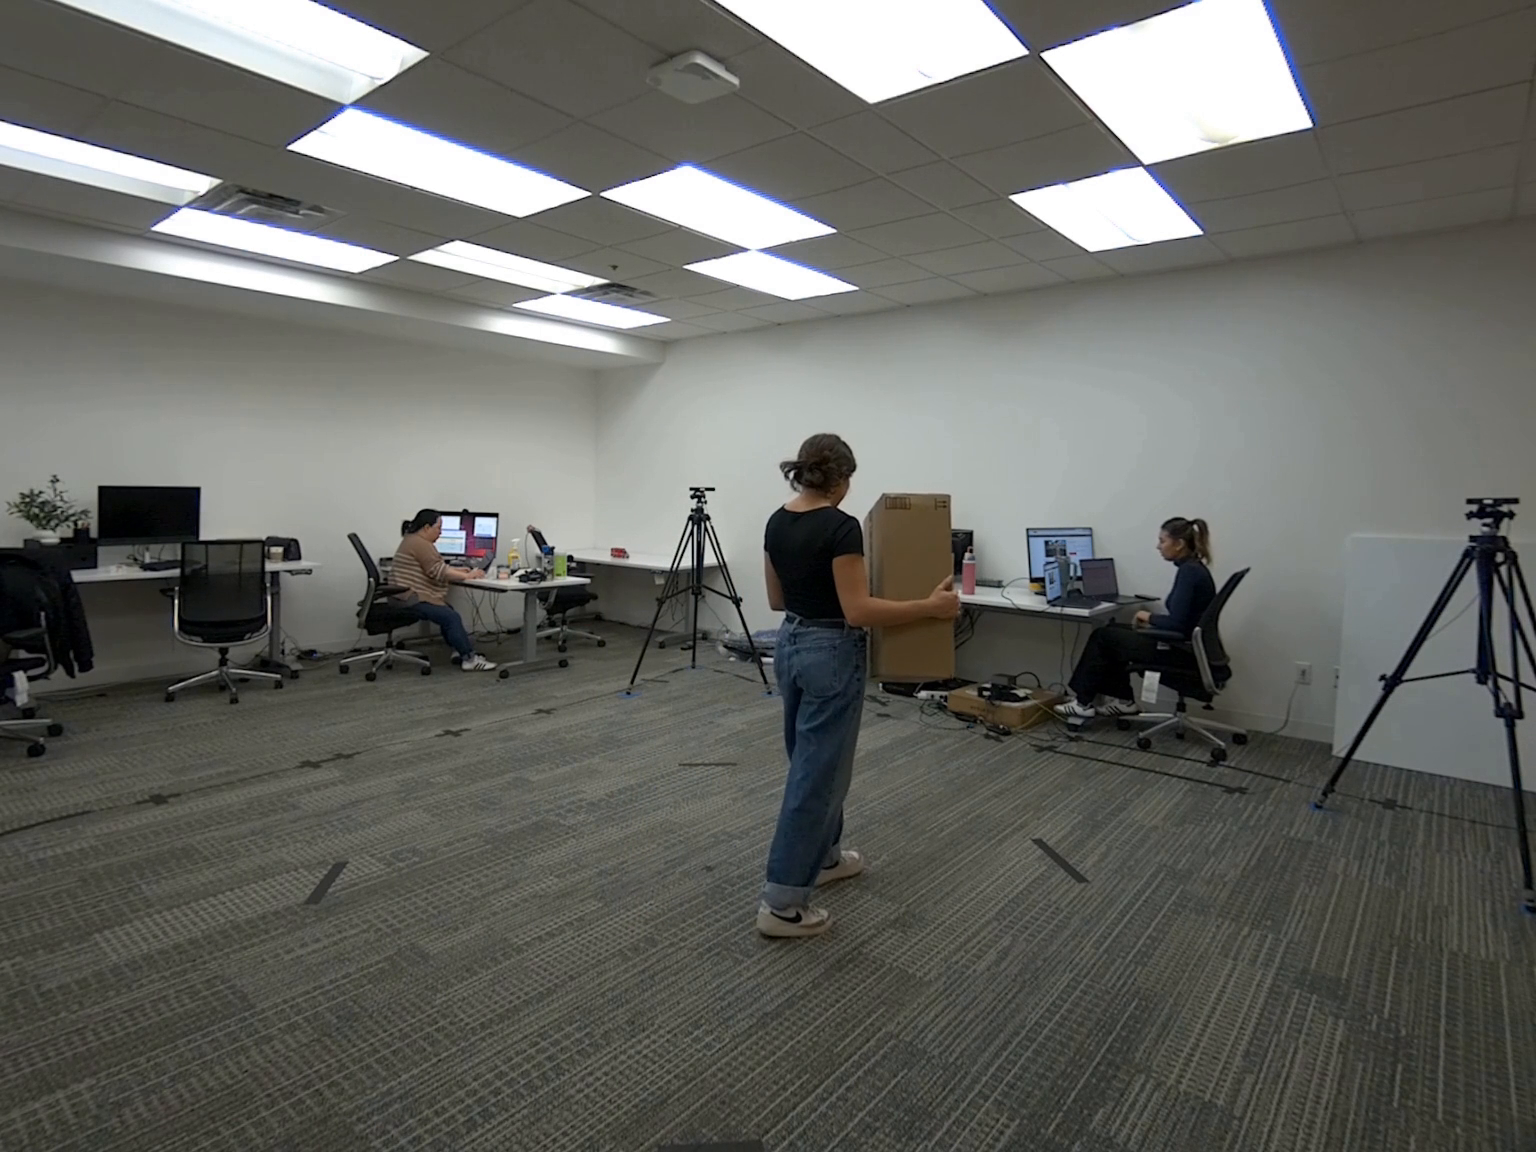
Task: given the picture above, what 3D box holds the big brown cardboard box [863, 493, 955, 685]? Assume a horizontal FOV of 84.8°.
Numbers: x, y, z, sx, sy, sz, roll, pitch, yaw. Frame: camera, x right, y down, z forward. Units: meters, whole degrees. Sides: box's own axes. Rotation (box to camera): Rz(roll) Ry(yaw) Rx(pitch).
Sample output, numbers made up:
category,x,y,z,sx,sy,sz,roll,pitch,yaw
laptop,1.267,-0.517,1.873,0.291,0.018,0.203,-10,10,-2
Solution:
category,x,y,z,sx,sy,sz,roll,pitch,yaw
big brown cardboard box,0.454,0.041,2.803,0.233,0.594,0.413,2,-9,0
